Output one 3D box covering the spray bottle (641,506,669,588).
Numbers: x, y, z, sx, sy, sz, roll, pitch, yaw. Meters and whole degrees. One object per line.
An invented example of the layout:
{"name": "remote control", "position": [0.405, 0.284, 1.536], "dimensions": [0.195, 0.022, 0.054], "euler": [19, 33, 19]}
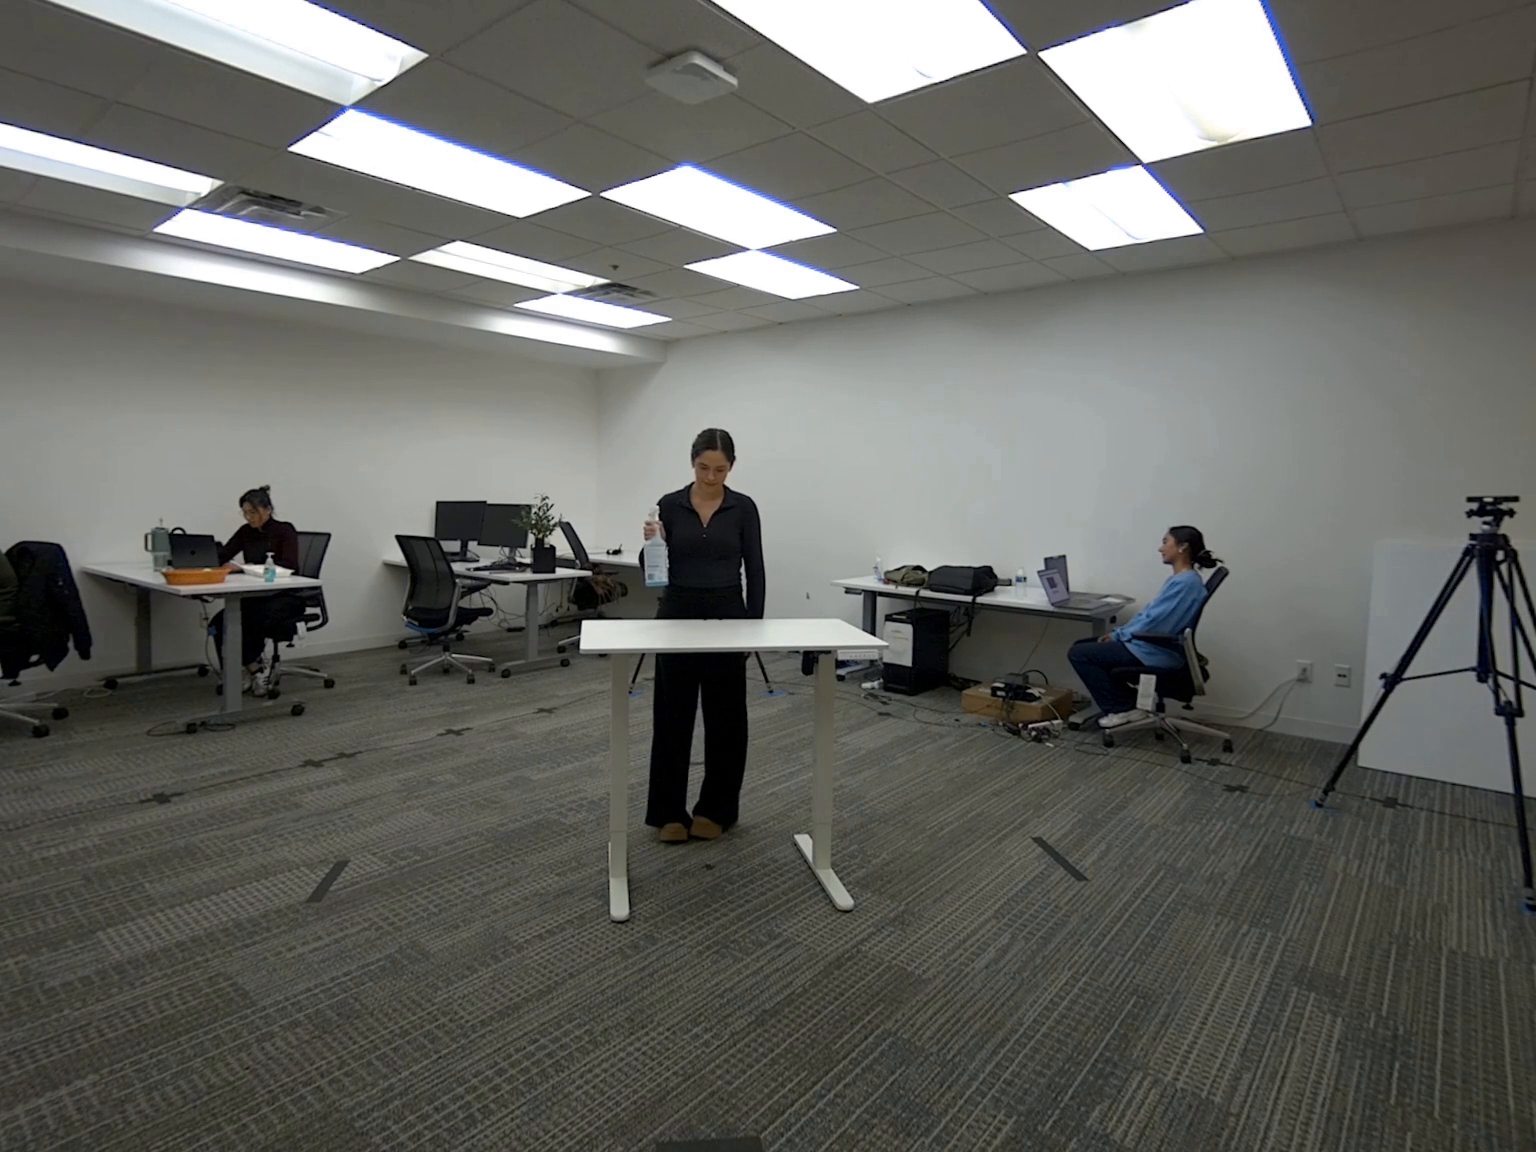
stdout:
{"name": "spray bottle", "position": [-0.452, -0.112, 3.205], "dimensions": [0.087, 0.297, 0.089], "euler": [-3, 0, 5]}
